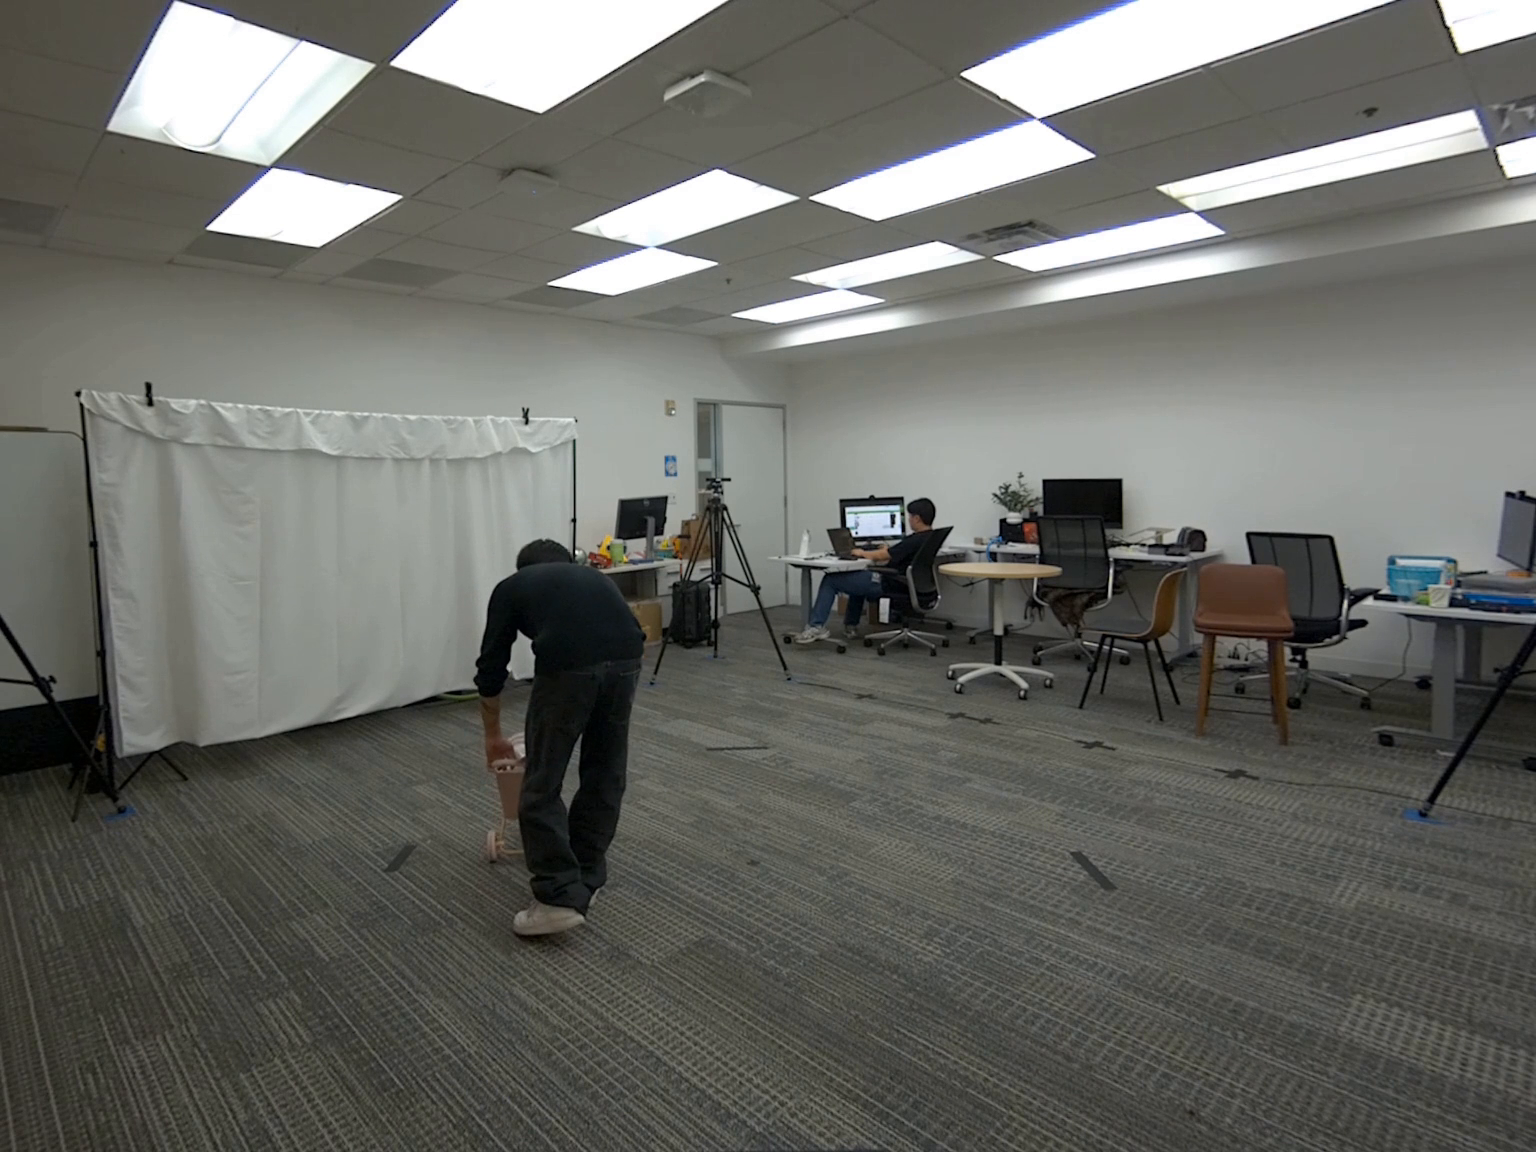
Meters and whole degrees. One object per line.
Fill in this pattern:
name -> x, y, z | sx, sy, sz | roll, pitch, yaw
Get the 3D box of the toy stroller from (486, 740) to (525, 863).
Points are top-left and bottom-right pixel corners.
toy stroller -> -0.907, 0.822, 3.237 | 0.280, 0.526, 0.349 | -1, 21, -4
